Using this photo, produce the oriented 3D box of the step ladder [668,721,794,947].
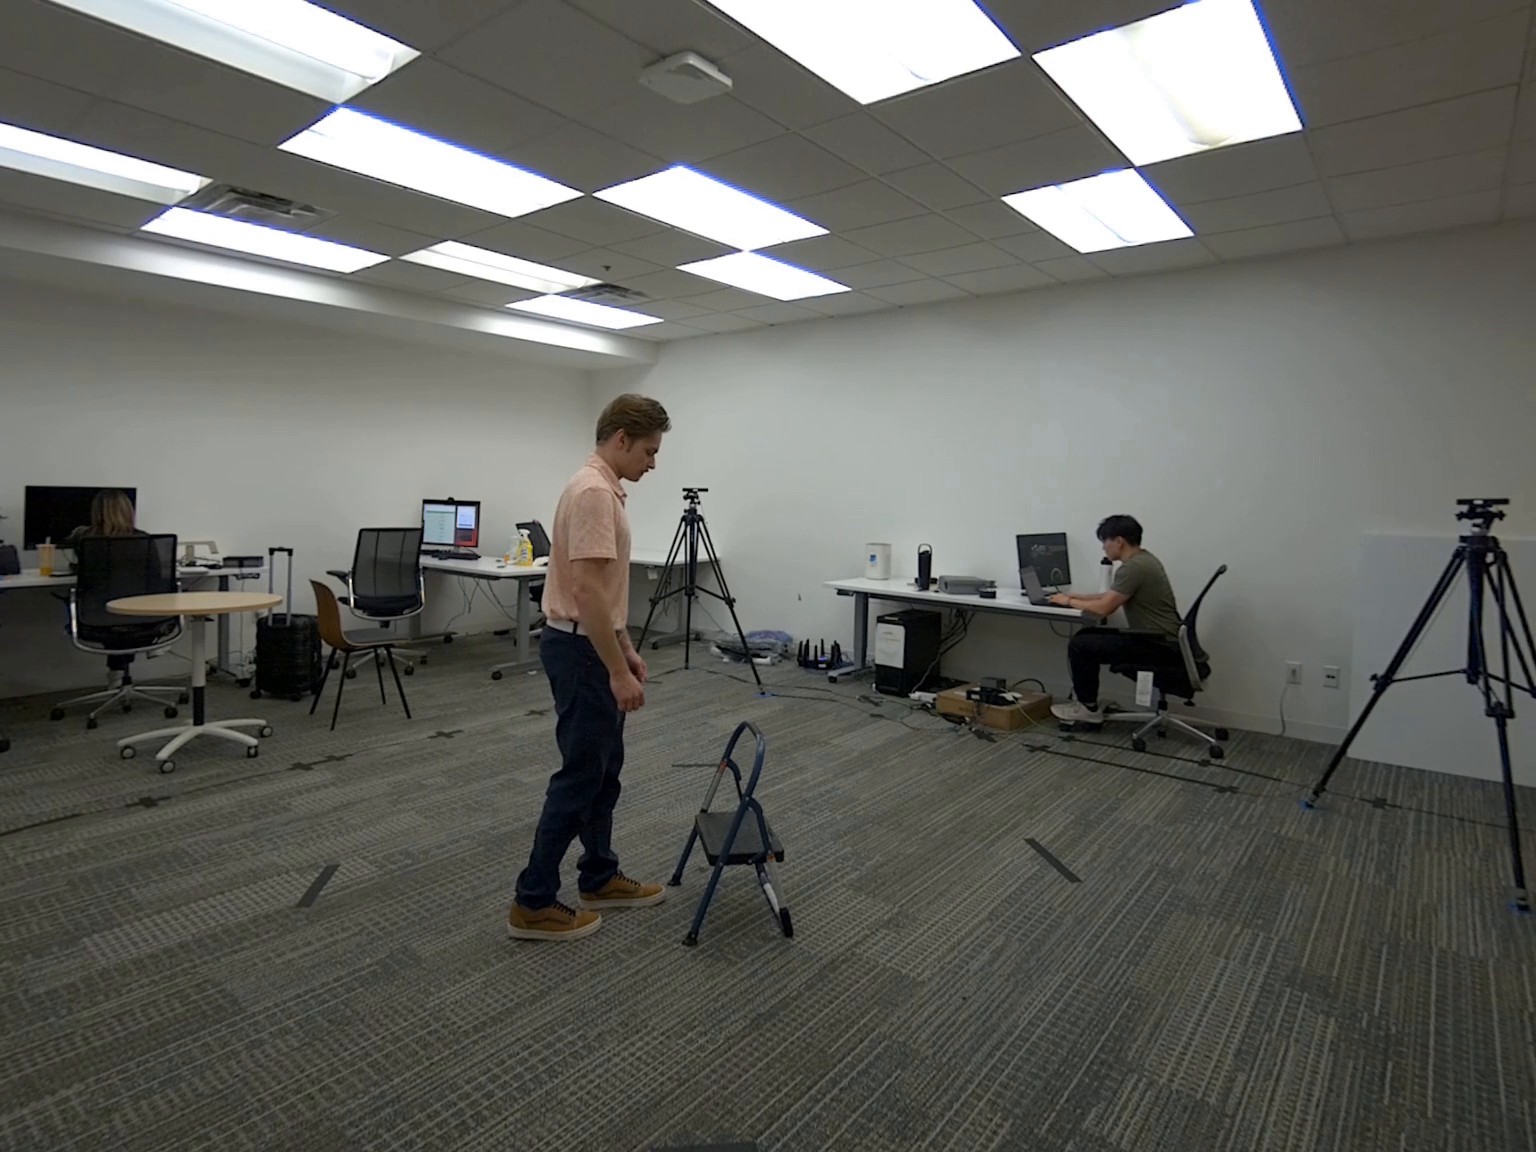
[{"bbox_3d":[-0.131,0.804,2.800,0.344,0.604,0.438,1,4,-14],"label":"step ladder"}]
